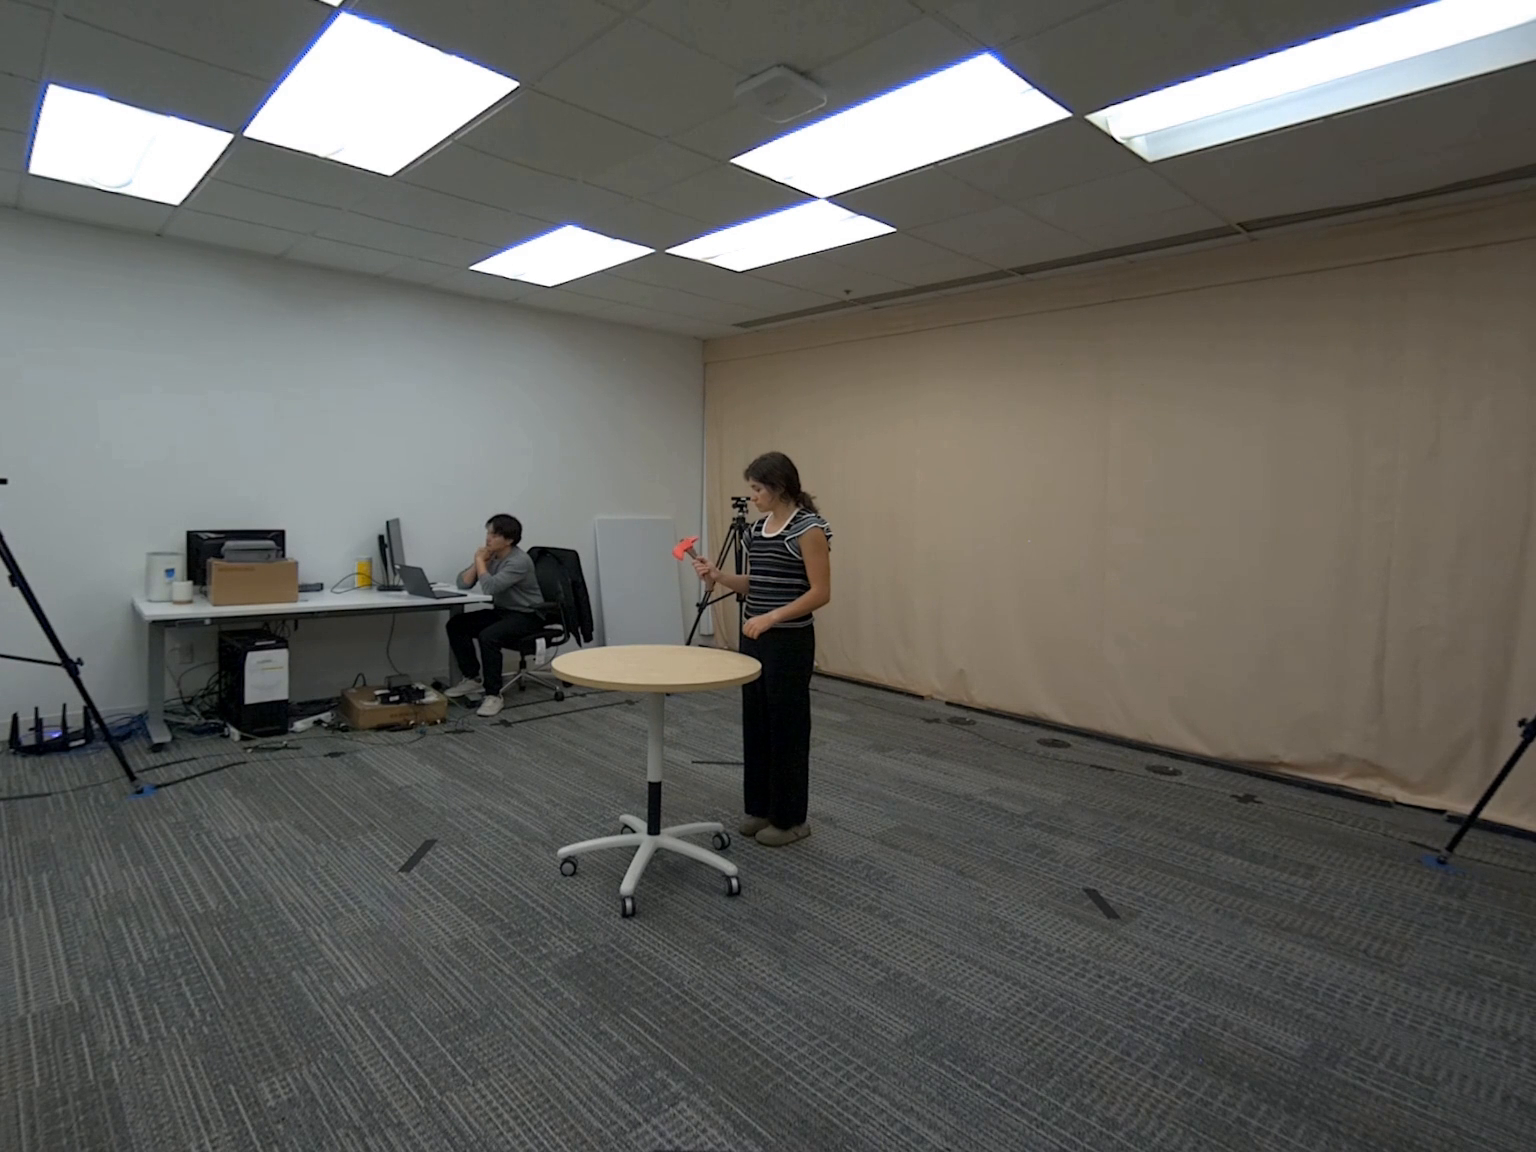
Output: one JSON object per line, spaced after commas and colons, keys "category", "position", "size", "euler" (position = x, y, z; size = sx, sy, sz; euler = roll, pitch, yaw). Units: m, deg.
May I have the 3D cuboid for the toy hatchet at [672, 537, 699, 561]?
{"category": "toy hatchet", "position": [-0.312, -0.040, 3.511], "size": [0.130, 0.276, 0.029], "euler": [-15, -28, -7]}
